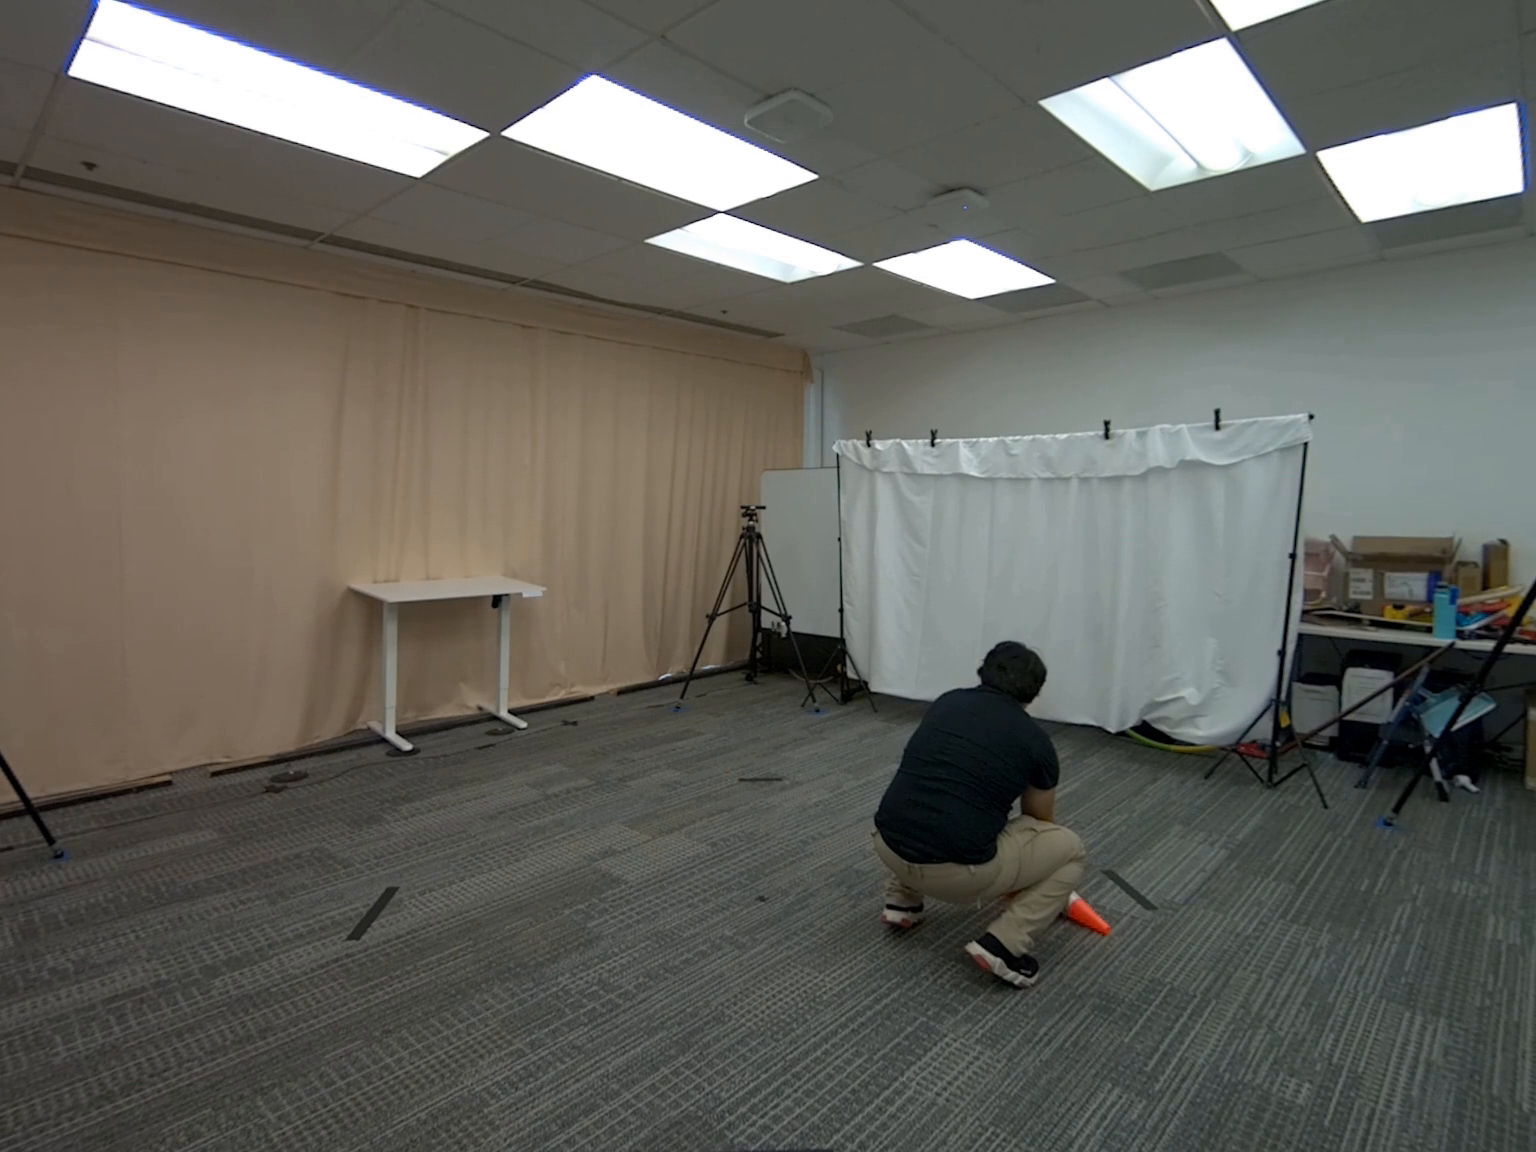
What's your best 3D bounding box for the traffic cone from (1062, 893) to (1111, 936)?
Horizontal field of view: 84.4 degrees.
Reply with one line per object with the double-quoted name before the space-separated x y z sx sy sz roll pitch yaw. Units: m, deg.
"traffic cone" 1.008 1.103 2.886 0.199 0.202 0.397 0 19 -30
